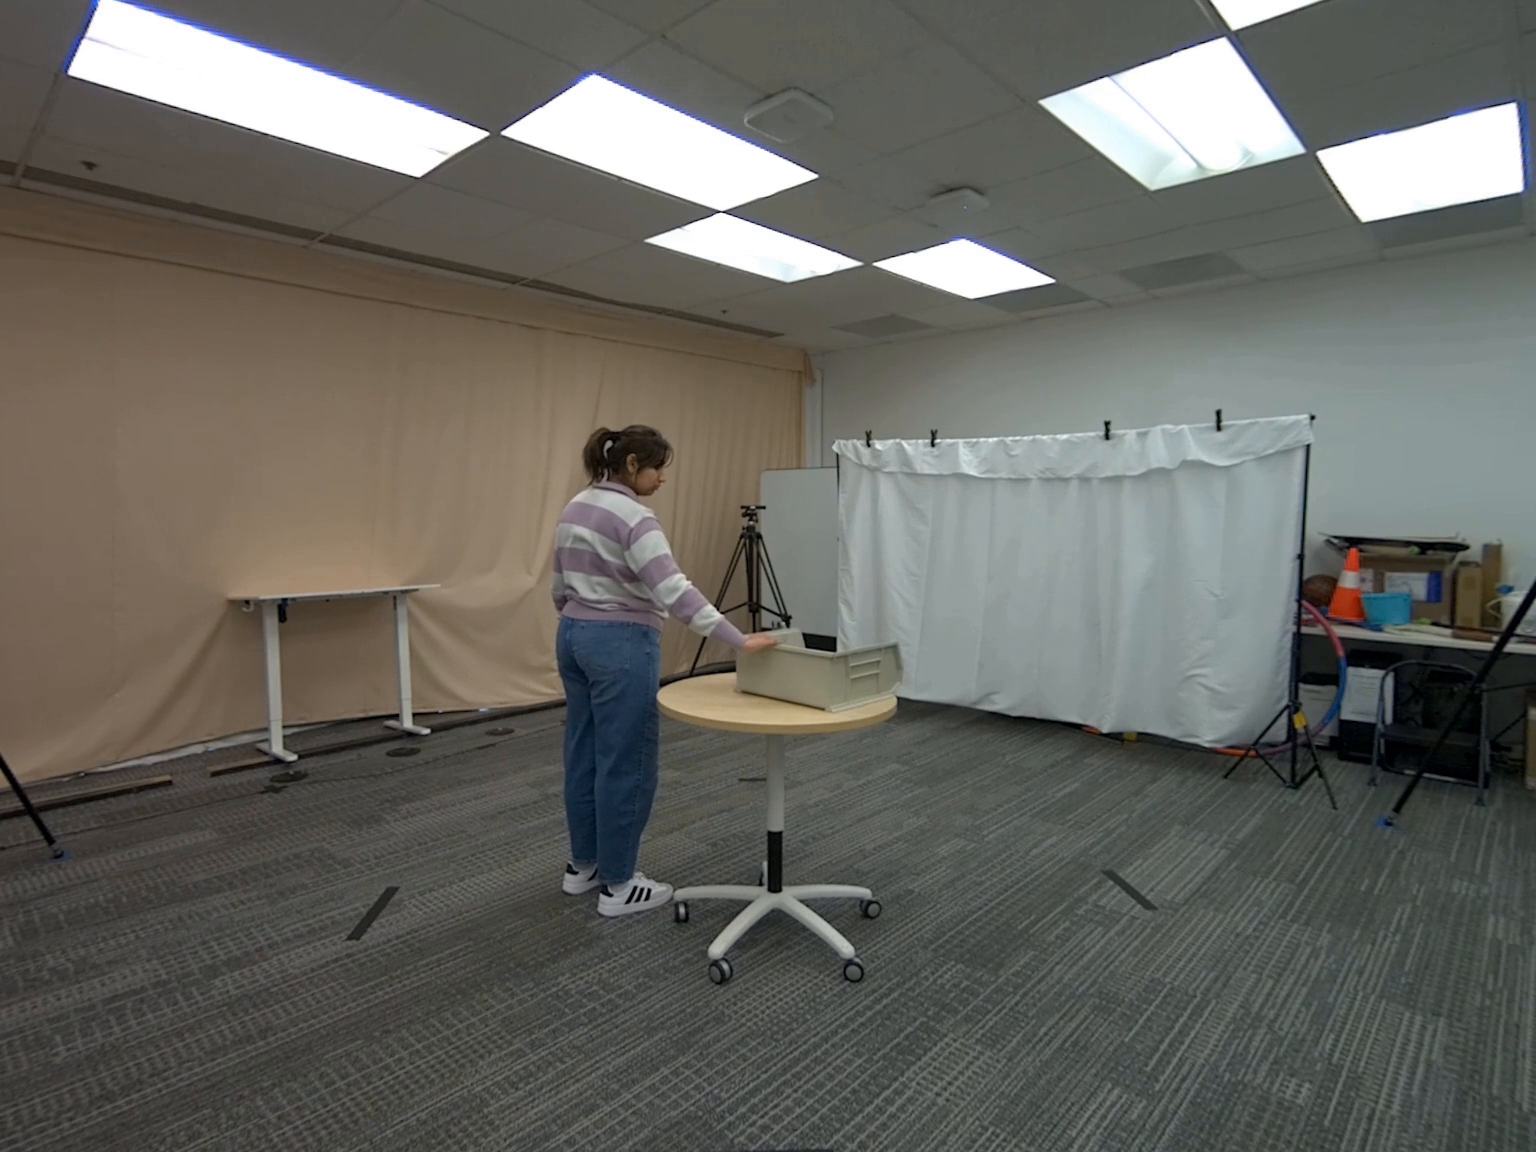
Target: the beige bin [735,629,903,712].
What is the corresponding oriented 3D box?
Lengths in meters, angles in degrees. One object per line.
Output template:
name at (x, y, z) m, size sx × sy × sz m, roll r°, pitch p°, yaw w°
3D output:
beige bin at (0.162, 0.294, 2.730) m, size 0.436 × 0.188 × 0.366 m, roll 5°, pitch 8°, yaw 44°
